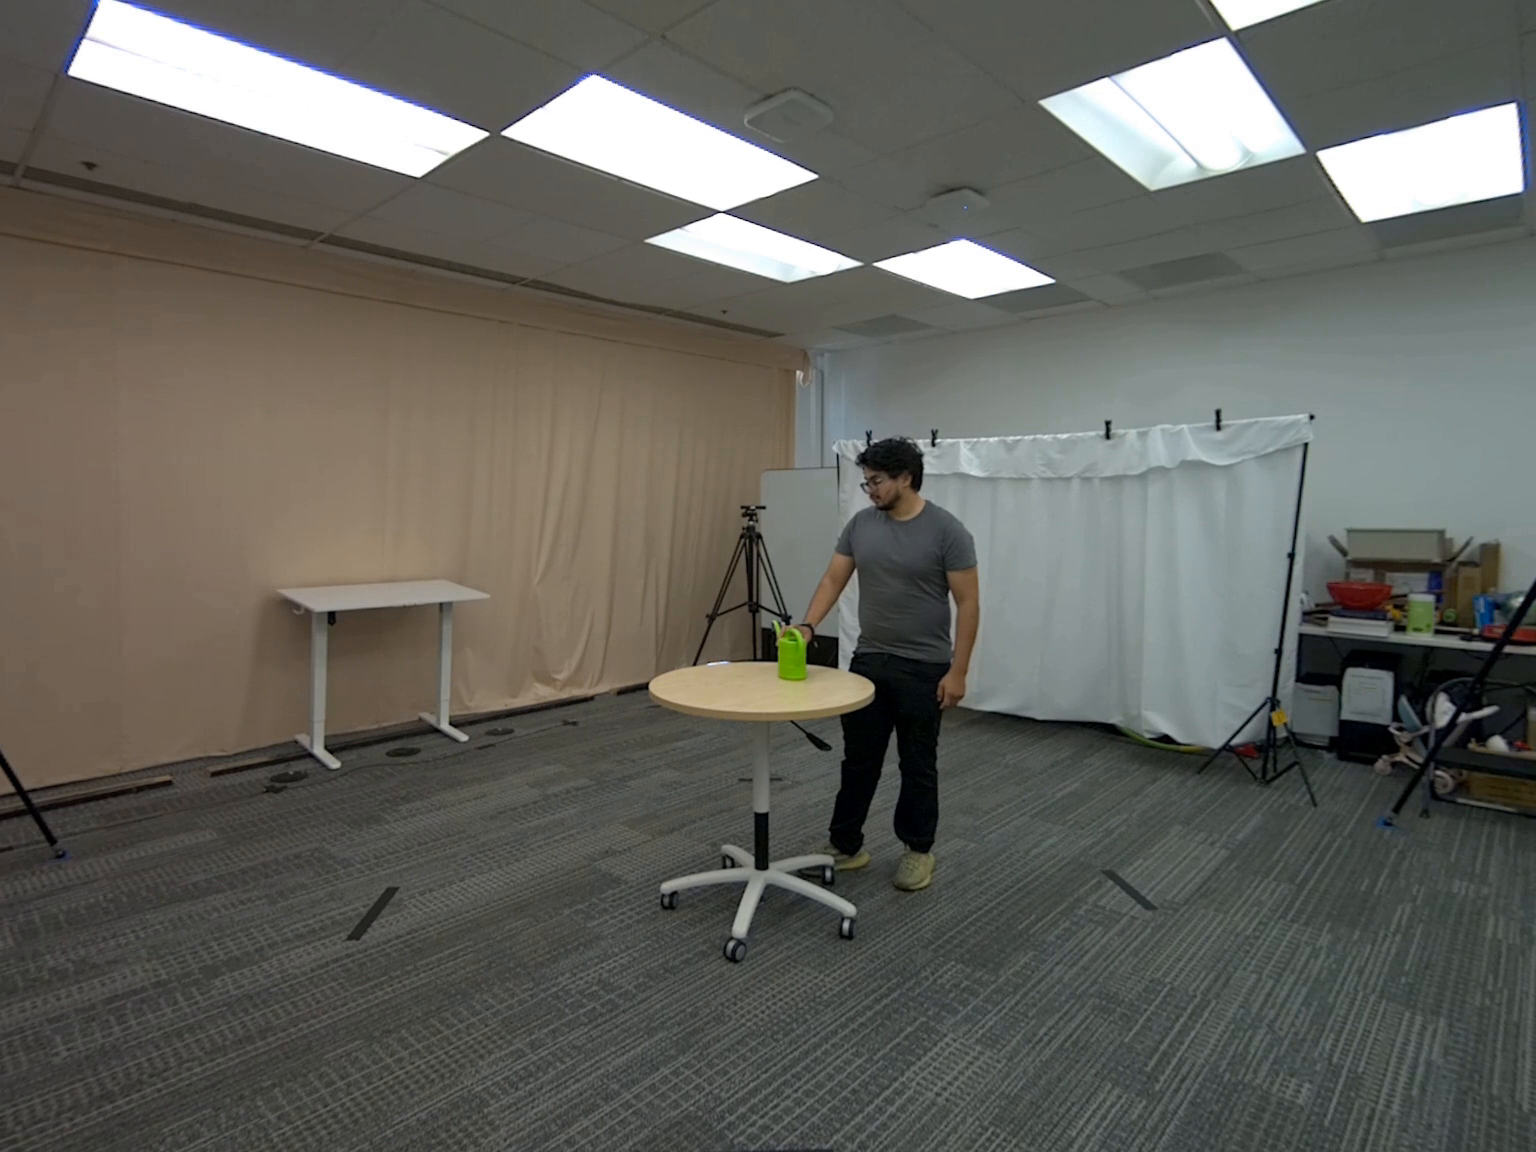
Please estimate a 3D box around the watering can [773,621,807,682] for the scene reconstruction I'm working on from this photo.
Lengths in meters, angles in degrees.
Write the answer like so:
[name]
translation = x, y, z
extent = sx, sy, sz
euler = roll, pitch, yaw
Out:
[watering can]
translation = 0.085, 0.272, 3.037
extent = 0.097, 0.176, 0.282
euler = 1, 6, -11
